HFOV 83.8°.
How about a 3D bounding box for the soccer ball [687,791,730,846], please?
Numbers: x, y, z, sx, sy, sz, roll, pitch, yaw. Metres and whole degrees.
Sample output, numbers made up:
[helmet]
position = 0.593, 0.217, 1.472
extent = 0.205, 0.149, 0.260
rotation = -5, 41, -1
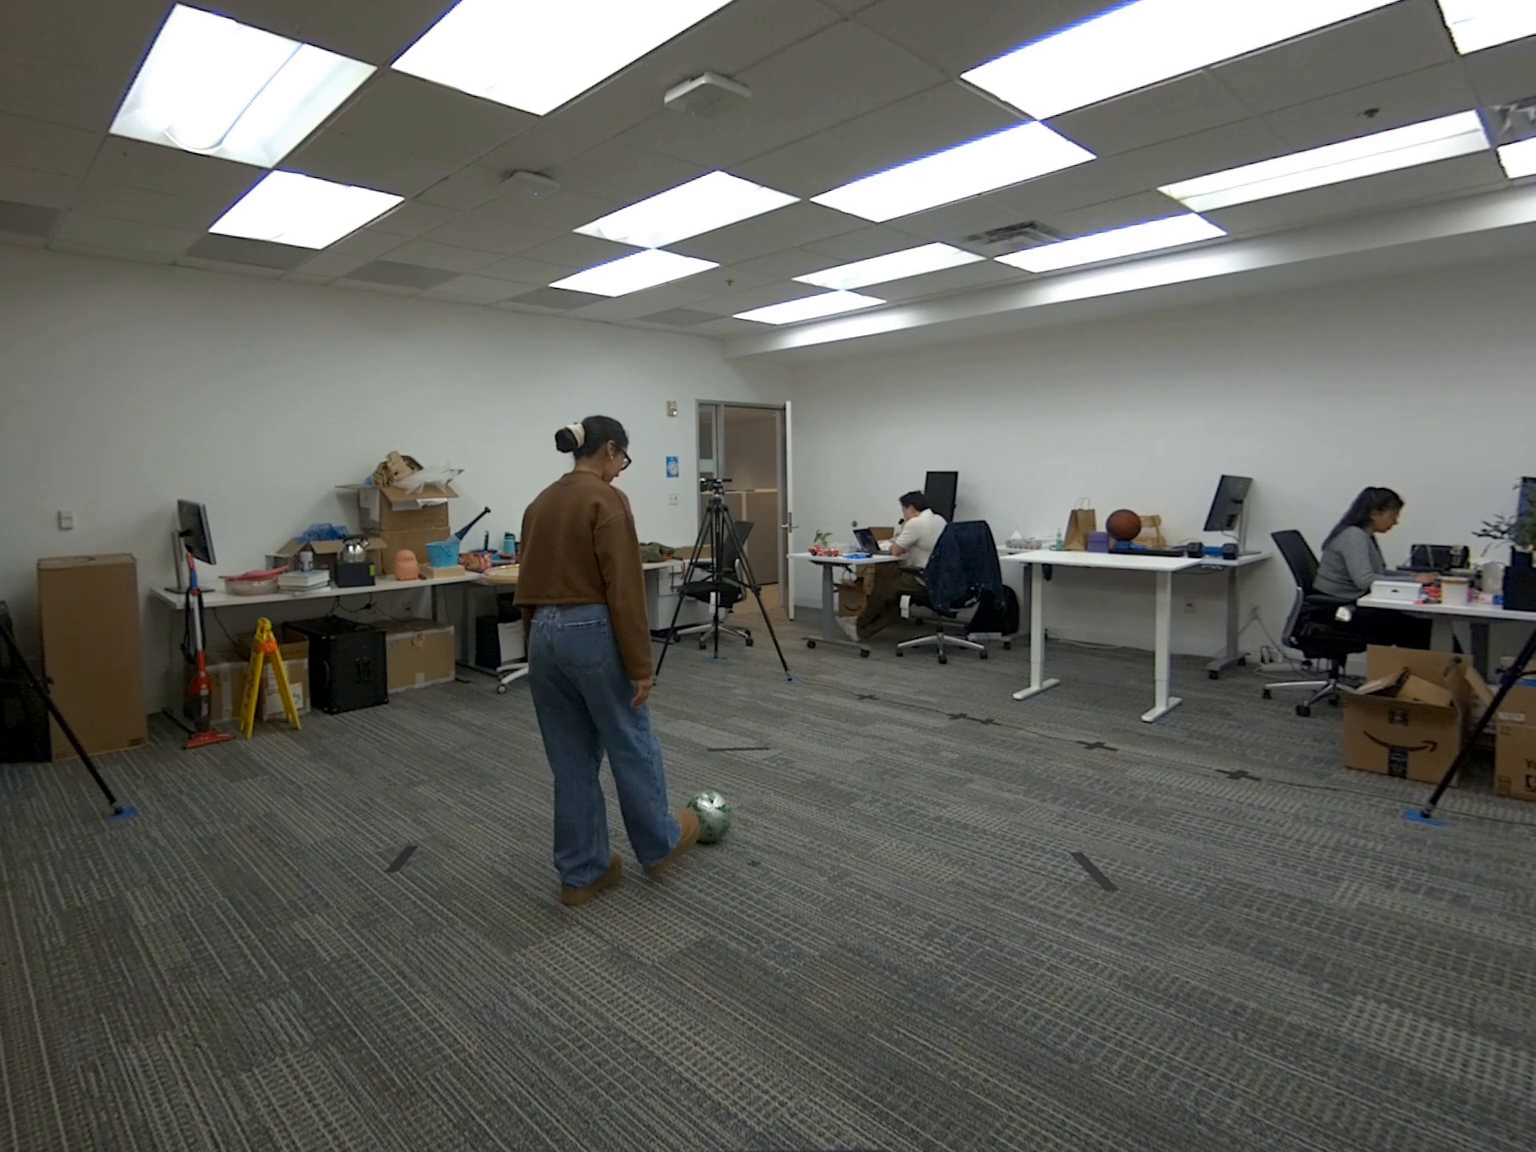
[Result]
[soccer ball]
position = -0.229, 0.927, 3.308
extent = 0.187, 0.187, 0.188
rotation = -1, 5, -2
